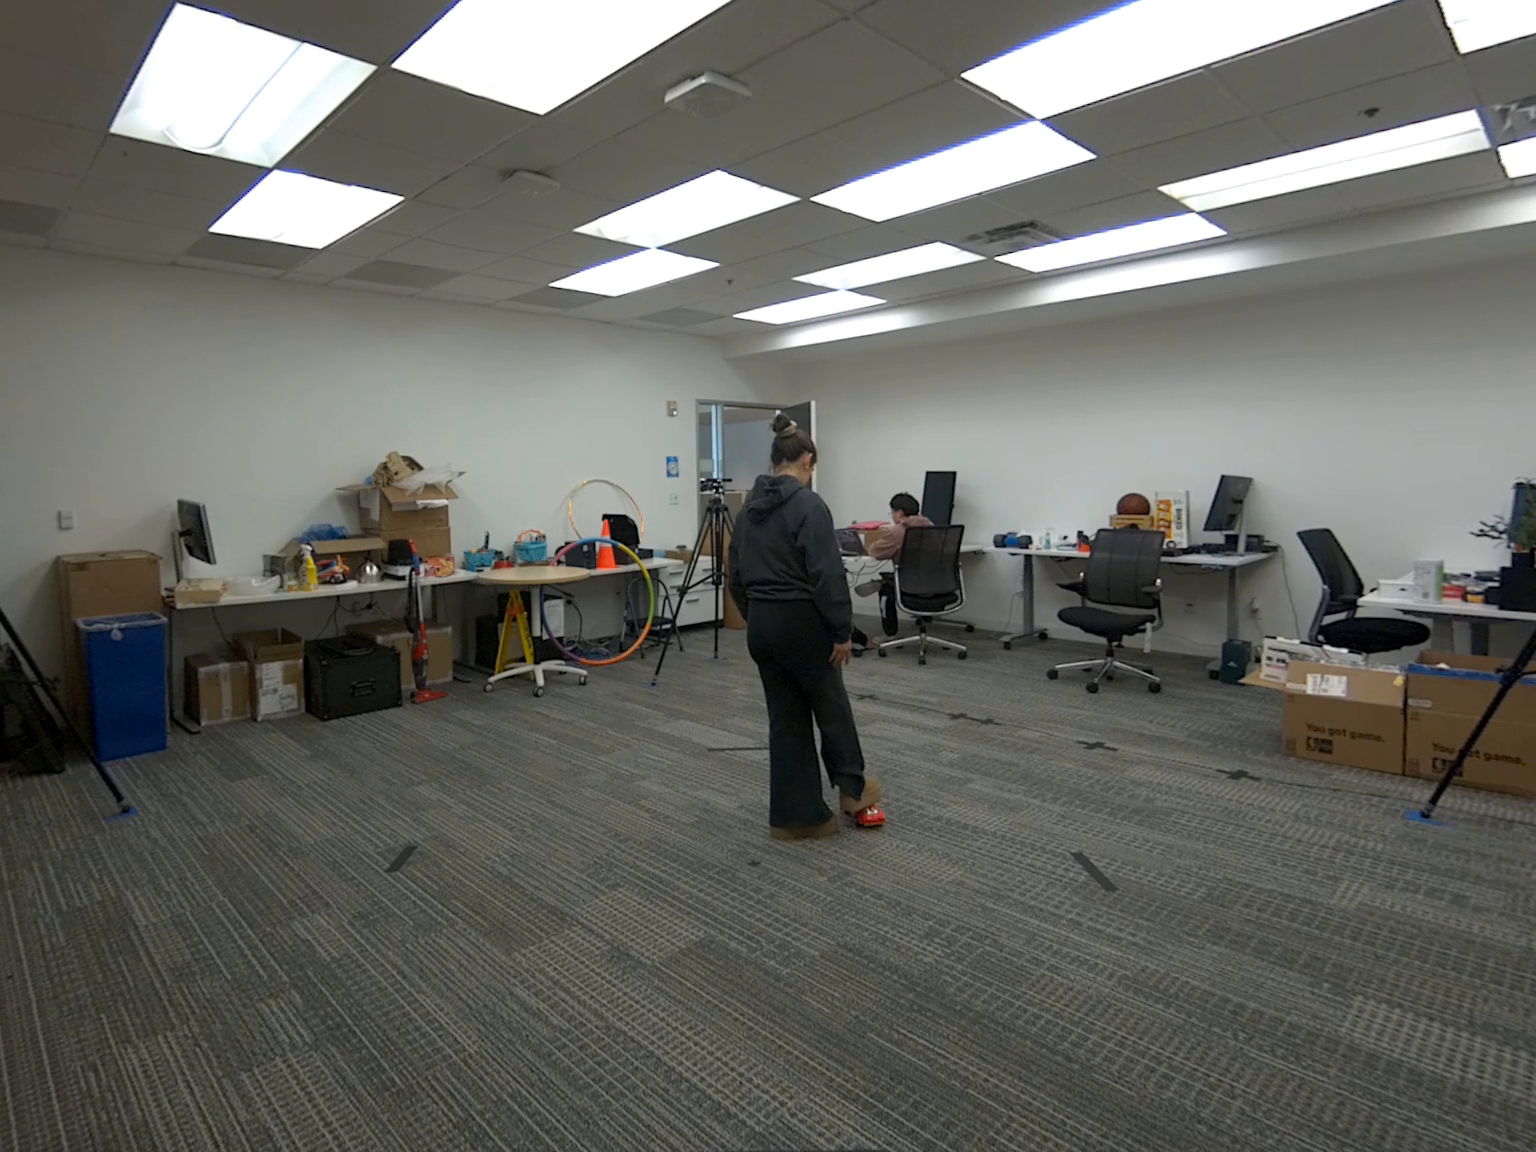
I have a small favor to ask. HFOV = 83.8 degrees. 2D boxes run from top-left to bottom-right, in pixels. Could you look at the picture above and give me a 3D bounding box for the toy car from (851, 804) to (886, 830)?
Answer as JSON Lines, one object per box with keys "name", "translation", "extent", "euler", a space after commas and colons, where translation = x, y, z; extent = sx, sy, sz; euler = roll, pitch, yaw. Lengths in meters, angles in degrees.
{"name": "toy car", "translation": [0.398, 0.966, 3.467], "extent": [0.129, 0.084, 0.256], "euler": [-1, -5, -13]}
